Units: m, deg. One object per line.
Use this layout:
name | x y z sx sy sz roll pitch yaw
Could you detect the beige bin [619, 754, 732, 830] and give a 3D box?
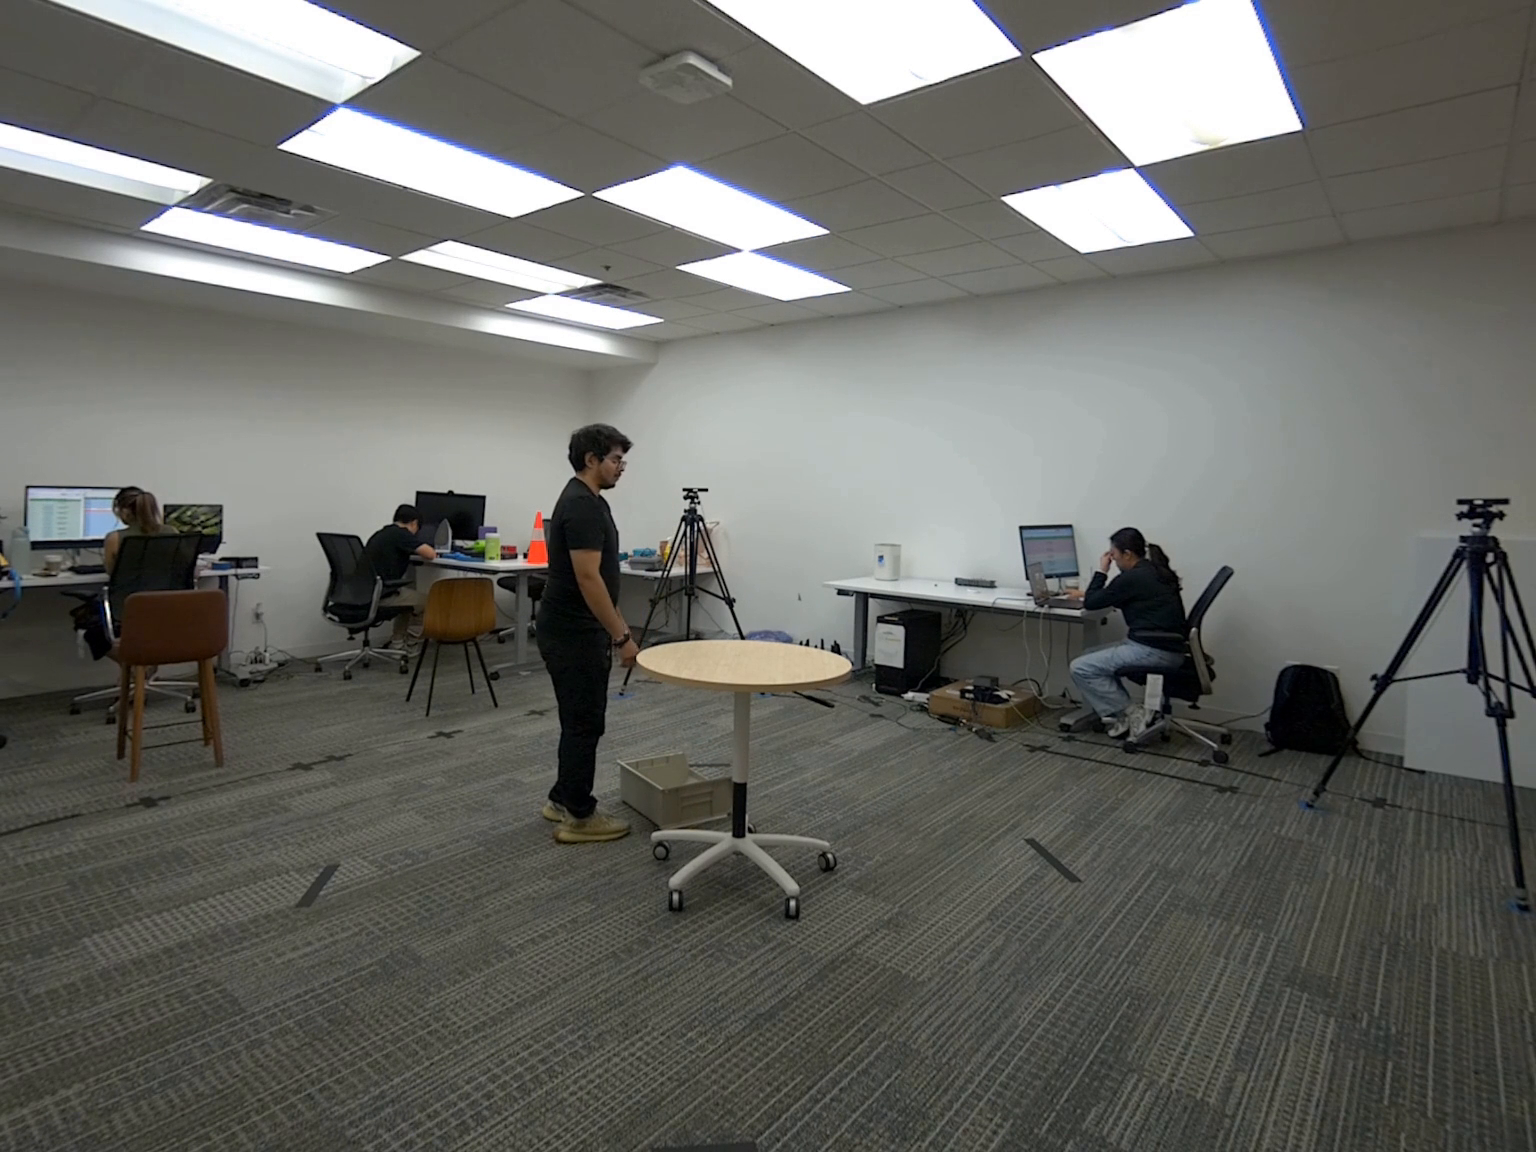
beige bin | -0.414 0.920 3.712 0.367 0.188 0.436 -4 8 -34
